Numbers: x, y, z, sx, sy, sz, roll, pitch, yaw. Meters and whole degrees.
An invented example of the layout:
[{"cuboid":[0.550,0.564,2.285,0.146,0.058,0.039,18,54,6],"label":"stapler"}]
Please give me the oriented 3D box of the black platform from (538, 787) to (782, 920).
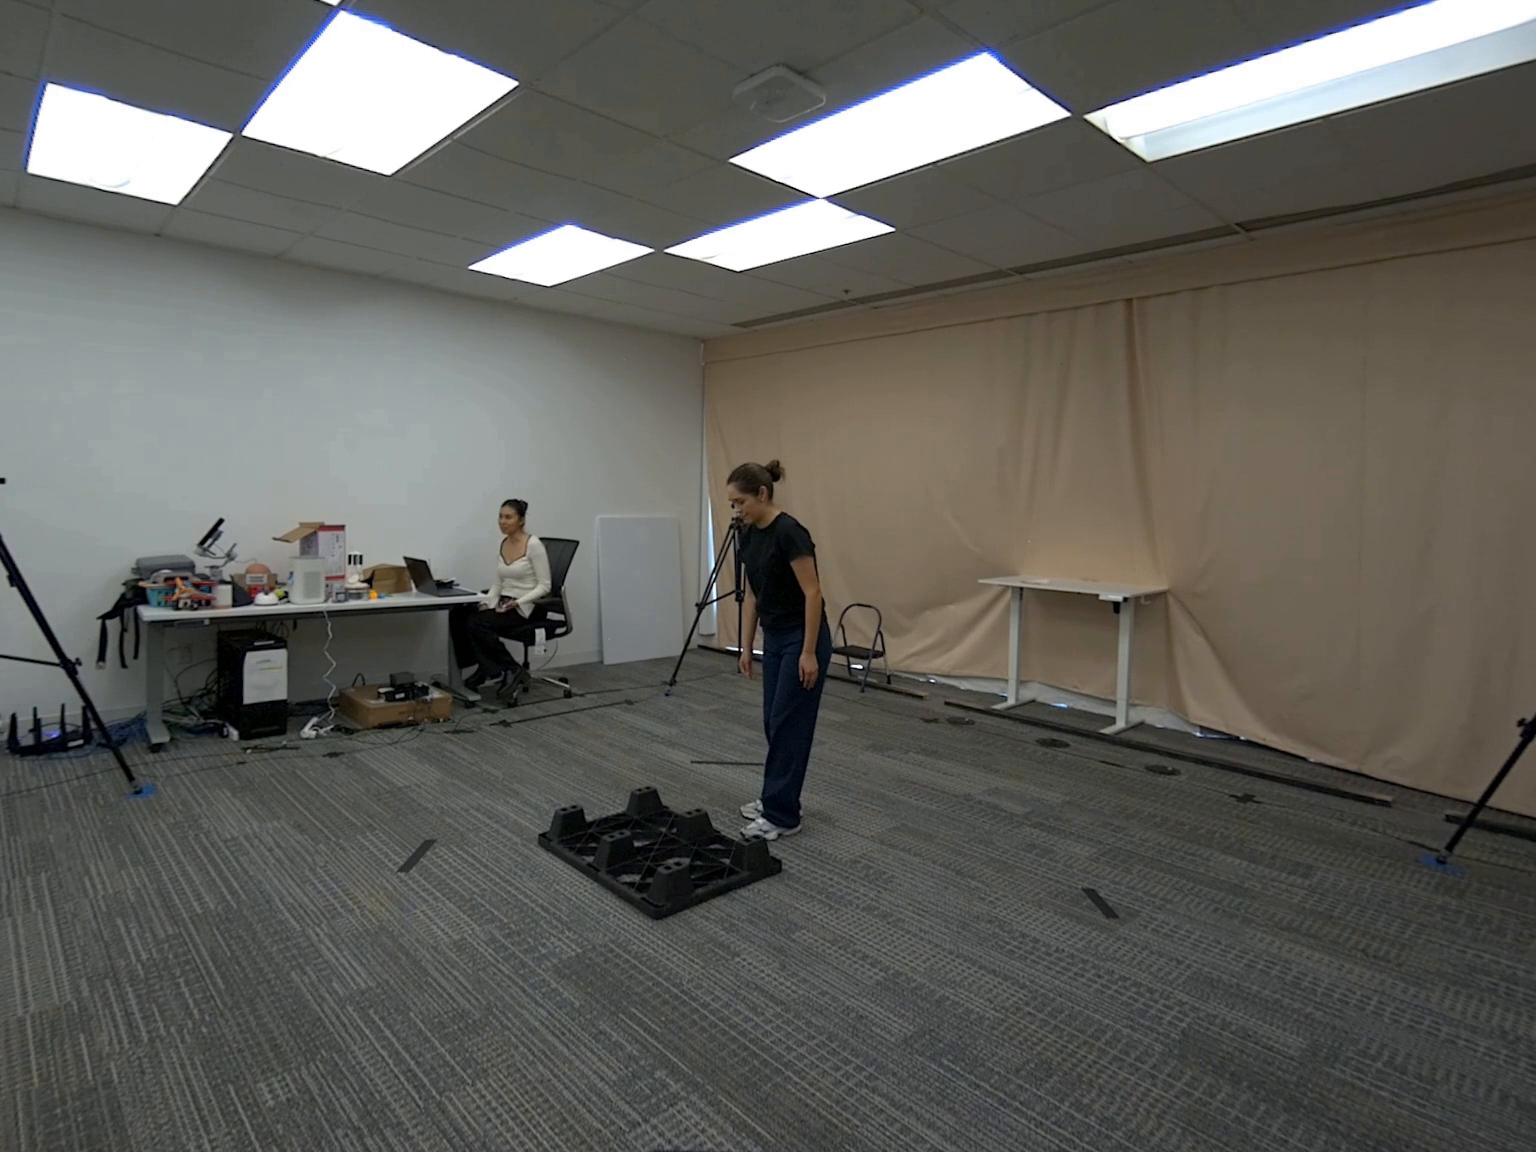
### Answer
[{"cuboid":[-0.438,1.024,3.231,0.591,0.143,0.826,-3,6,-43],"label":"black platform"}]
